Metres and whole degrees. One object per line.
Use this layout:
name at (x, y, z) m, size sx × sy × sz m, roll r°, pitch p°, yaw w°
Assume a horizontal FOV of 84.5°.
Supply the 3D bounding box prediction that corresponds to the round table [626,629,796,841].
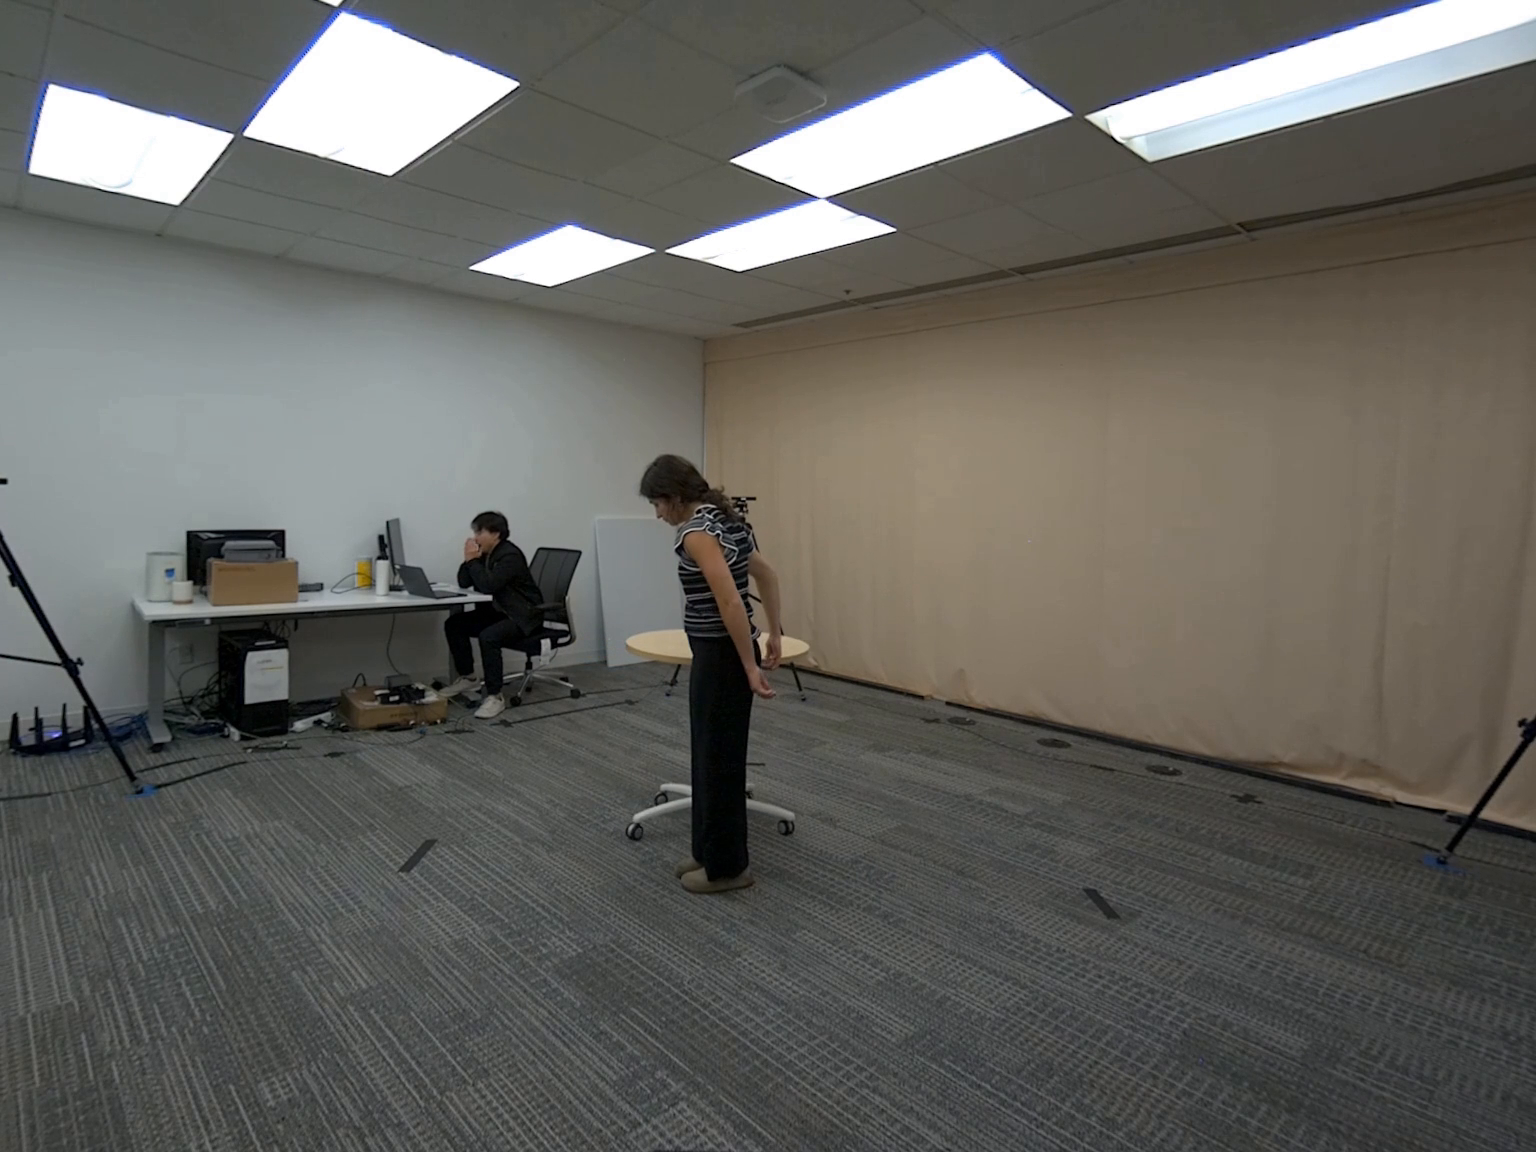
round table at (-0.236, 0.675, 3.544) m, size 0.784 × 0.785 × 0.787 m, roll 2°, pitch 3°, yaw -1°
